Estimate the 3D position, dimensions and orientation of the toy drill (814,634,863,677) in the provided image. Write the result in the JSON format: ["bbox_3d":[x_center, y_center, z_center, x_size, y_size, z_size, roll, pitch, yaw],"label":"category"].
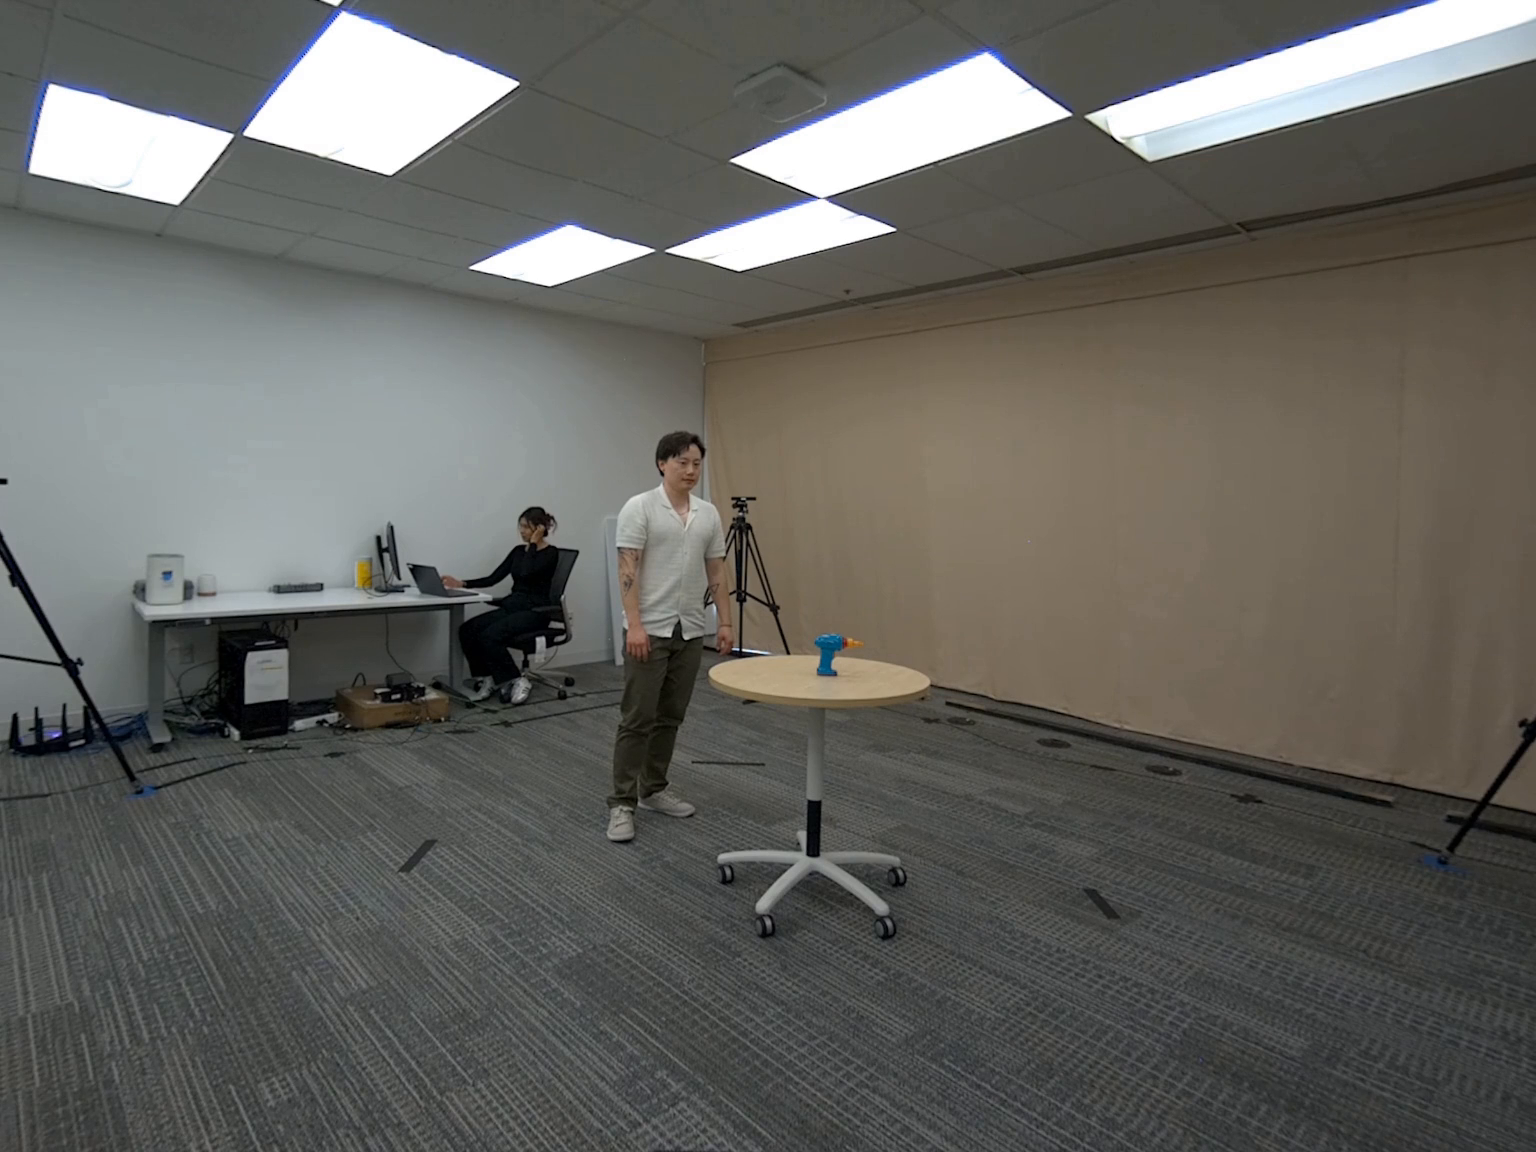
[{"bbox_3d":[0.239,0.273,2.941,0.170,0.146,0.061,0,1,-1],"label":"toy drill"}]
